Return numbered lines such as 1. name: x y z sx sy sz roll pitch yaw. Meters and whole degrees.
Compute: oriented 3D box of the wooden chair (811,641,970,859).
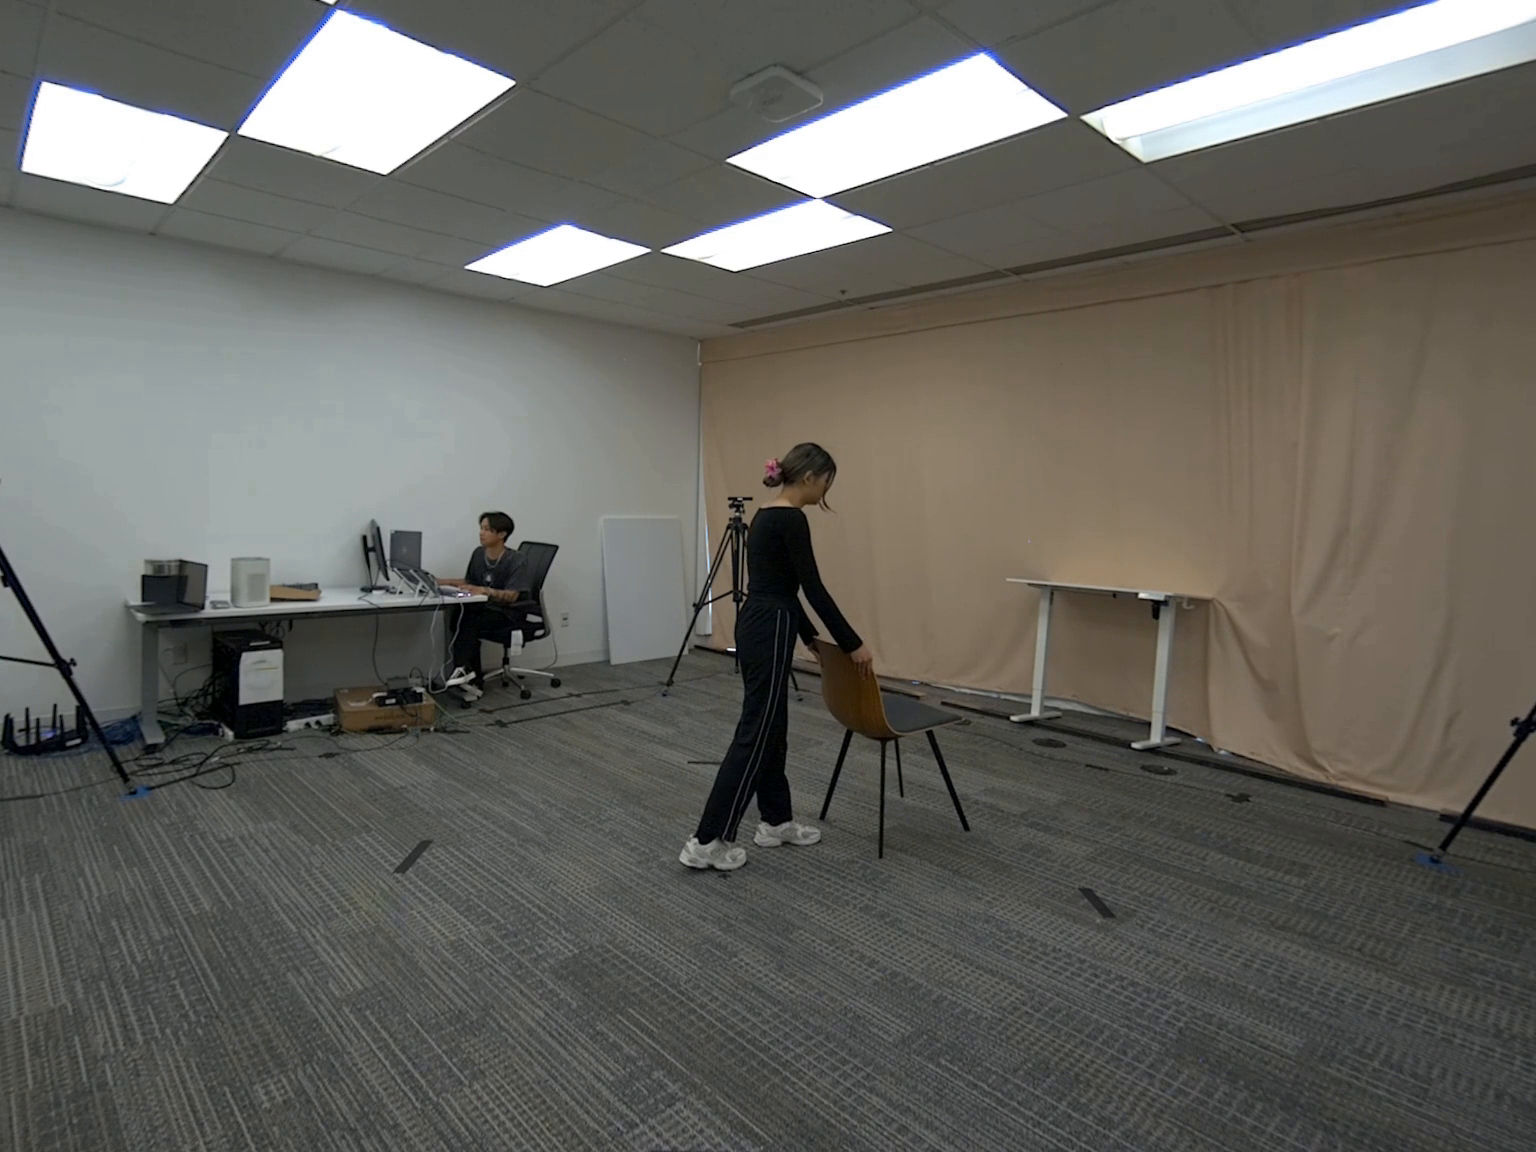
1. wooden chair: 0.503 0.639 3.539 0.515 0.872 0.488 -11 8 -26
